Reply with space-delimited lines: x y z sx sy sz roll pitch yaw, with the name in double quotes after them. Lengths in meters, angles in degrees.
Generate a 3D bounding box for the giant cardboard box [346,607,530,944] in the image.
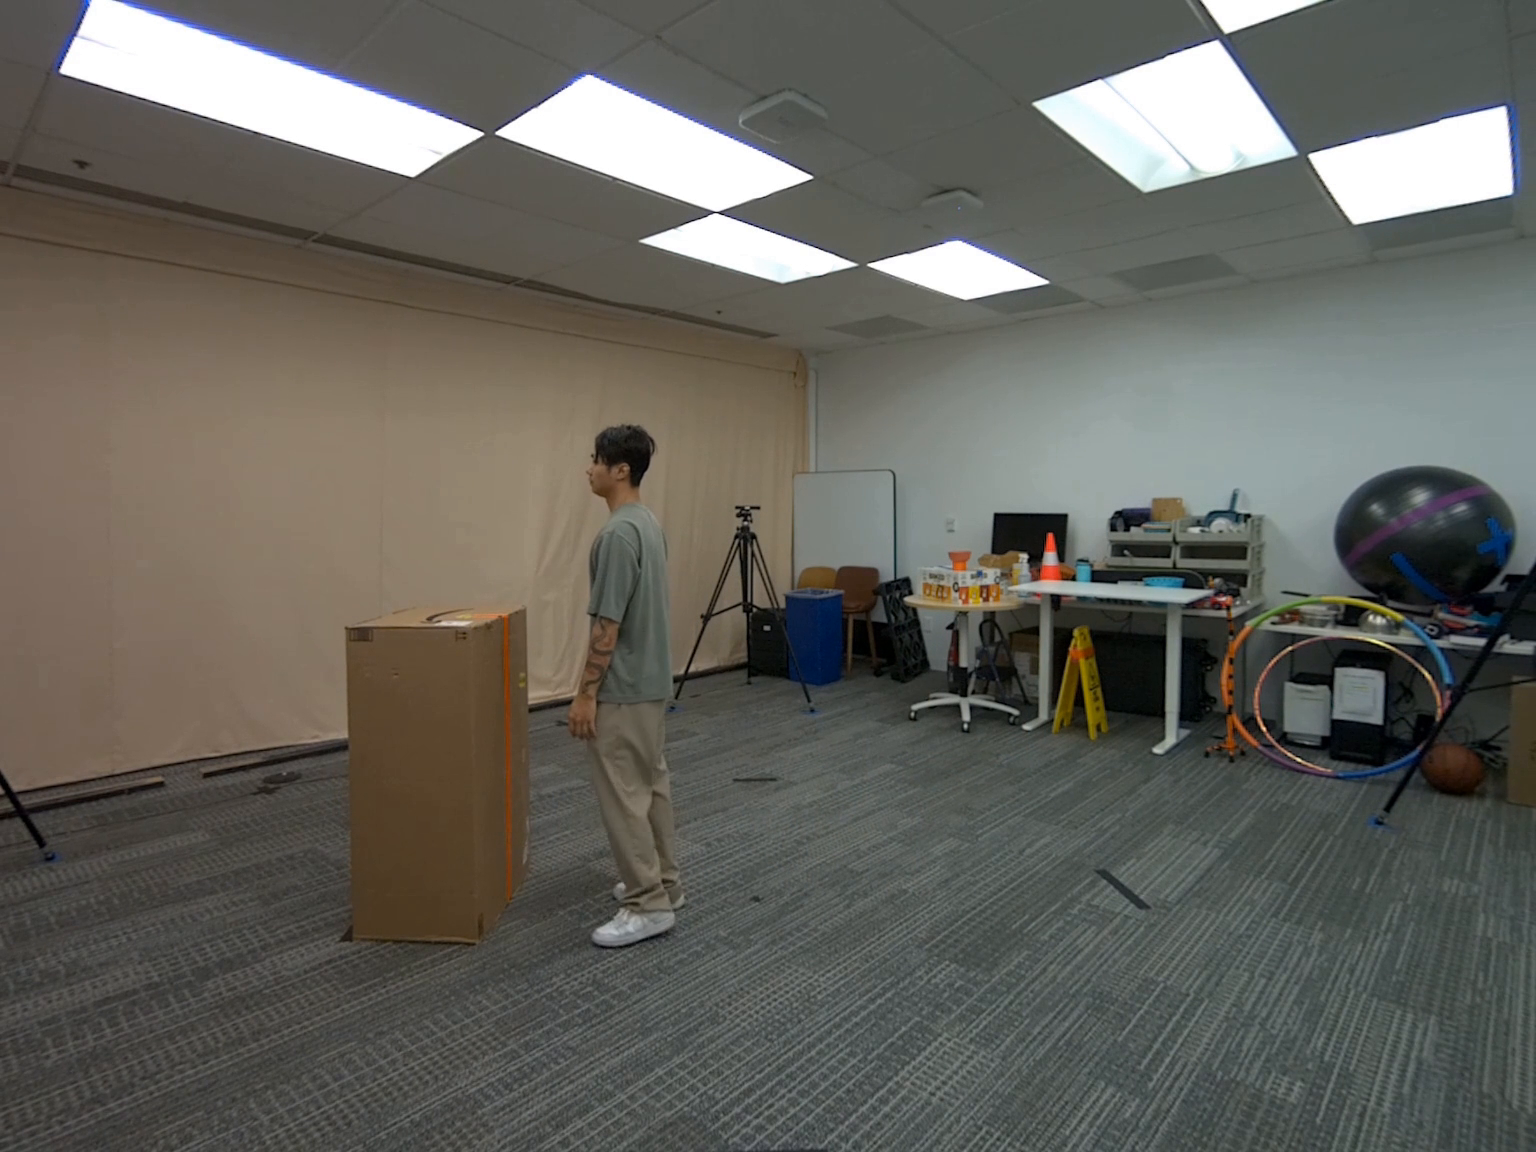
-1.135 0.652 2.961 0.428 1.024 0.577 0 2 2 "giant cardboard box"
